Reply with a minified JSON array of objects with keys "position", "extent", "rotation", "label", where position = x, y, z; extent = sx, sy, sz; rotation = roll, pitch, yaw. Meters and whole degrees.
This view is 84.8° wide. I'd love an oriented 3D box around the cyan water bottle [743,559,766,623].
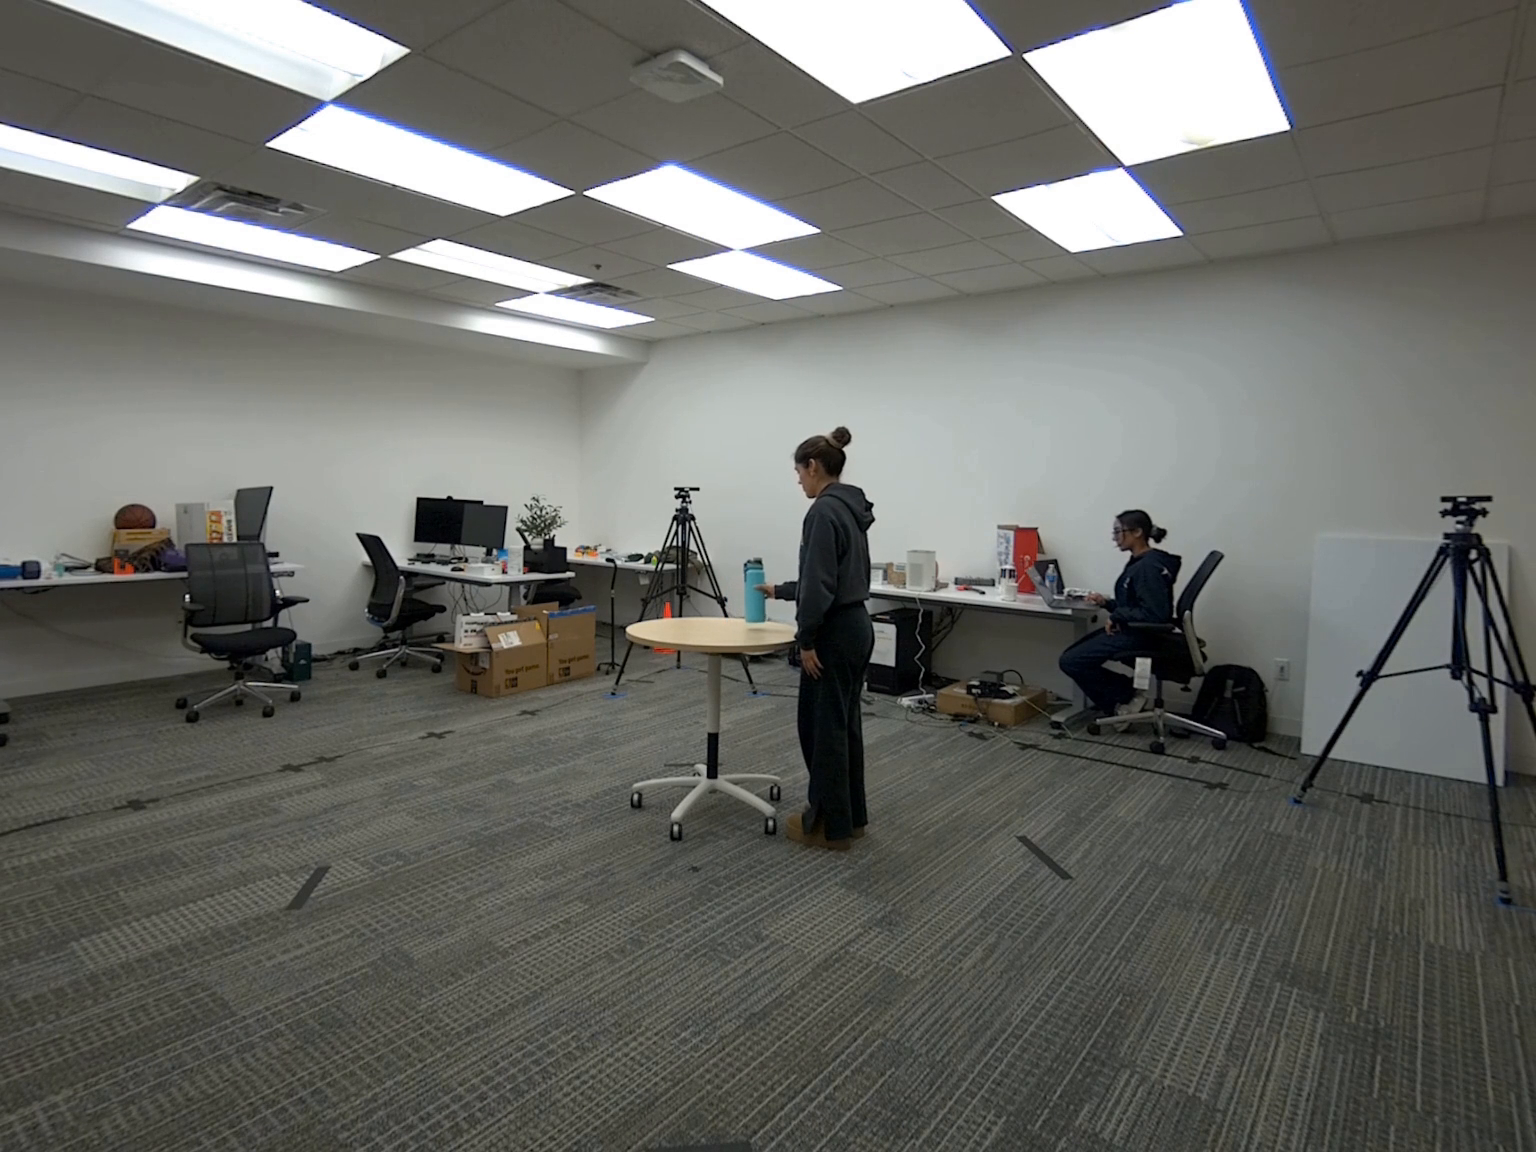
[{"position":[-0.060,0.059,3.722],"extent":[0.092,0.285,0.092],"rotation":[-2,-7,-2],"label":"cyan water bottle"}]
